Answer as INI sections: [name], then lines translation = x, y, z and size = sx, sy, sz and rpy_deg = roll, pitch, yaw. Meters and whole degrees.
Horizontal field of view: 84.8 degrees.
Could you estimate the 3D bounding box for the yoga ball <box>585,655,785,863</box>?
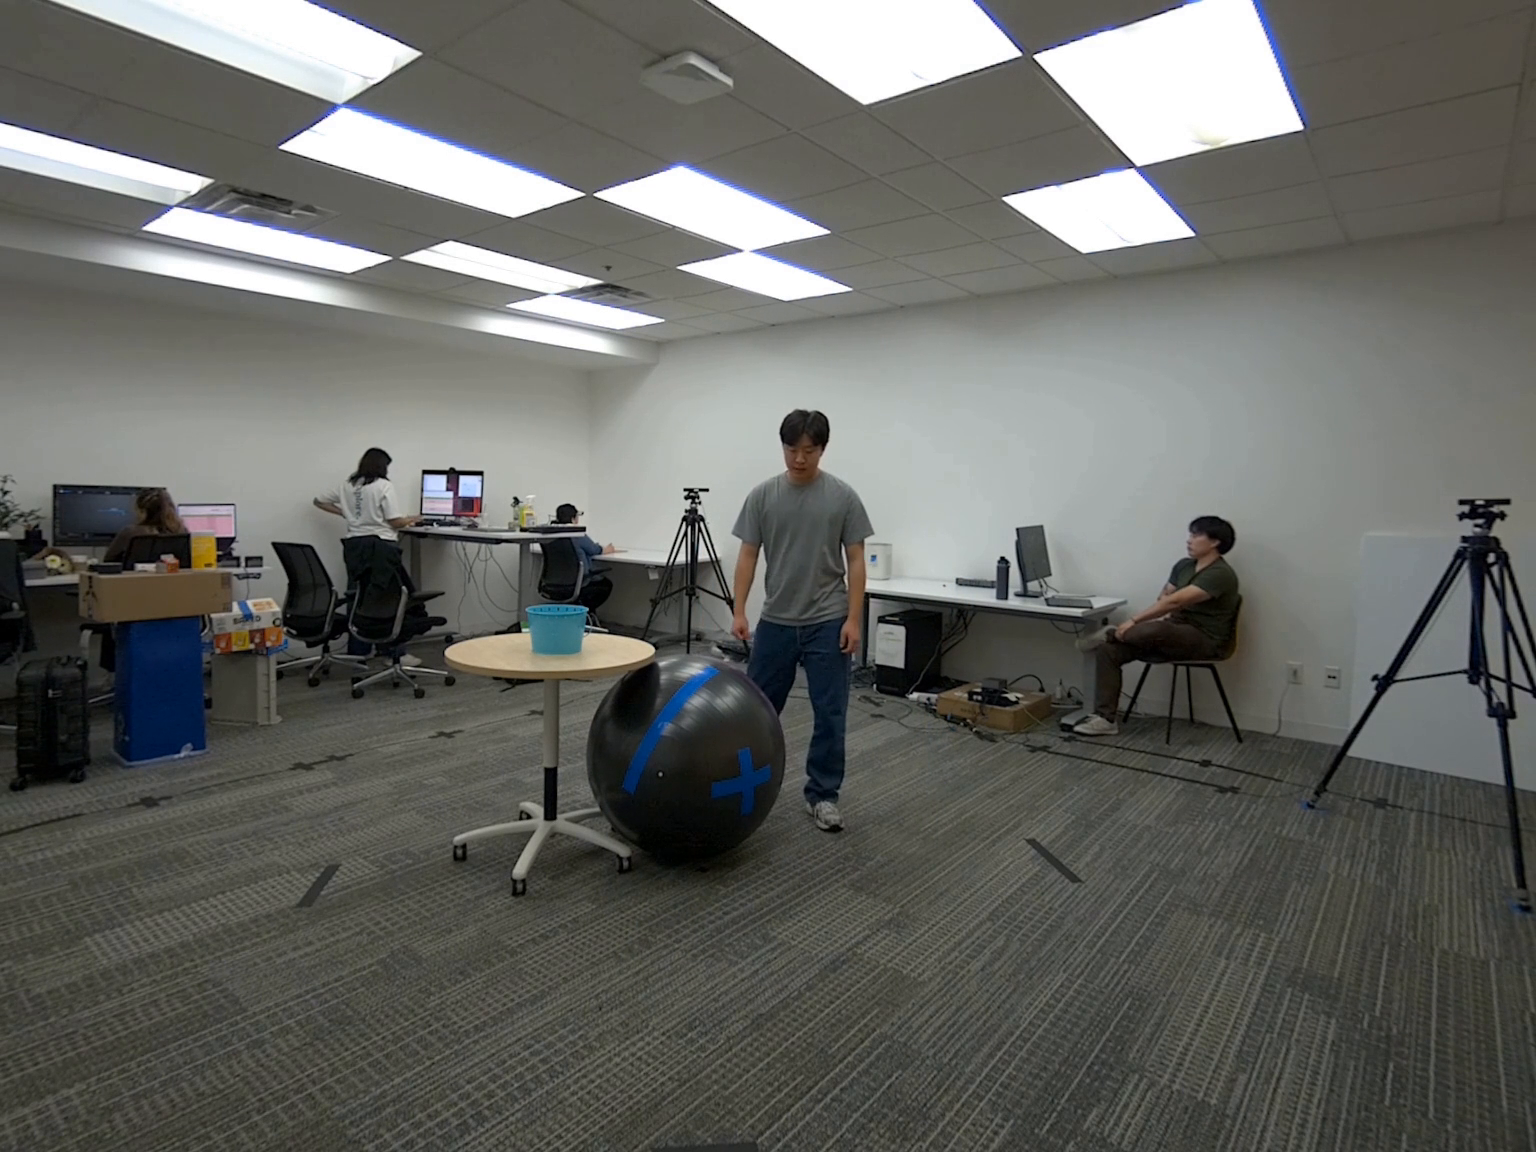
[yoga ball]
translation = -0.324, 0.684, 3.260
size = 0.757, 0.755, 0.762
rpy_deg = 1, 4, -2
